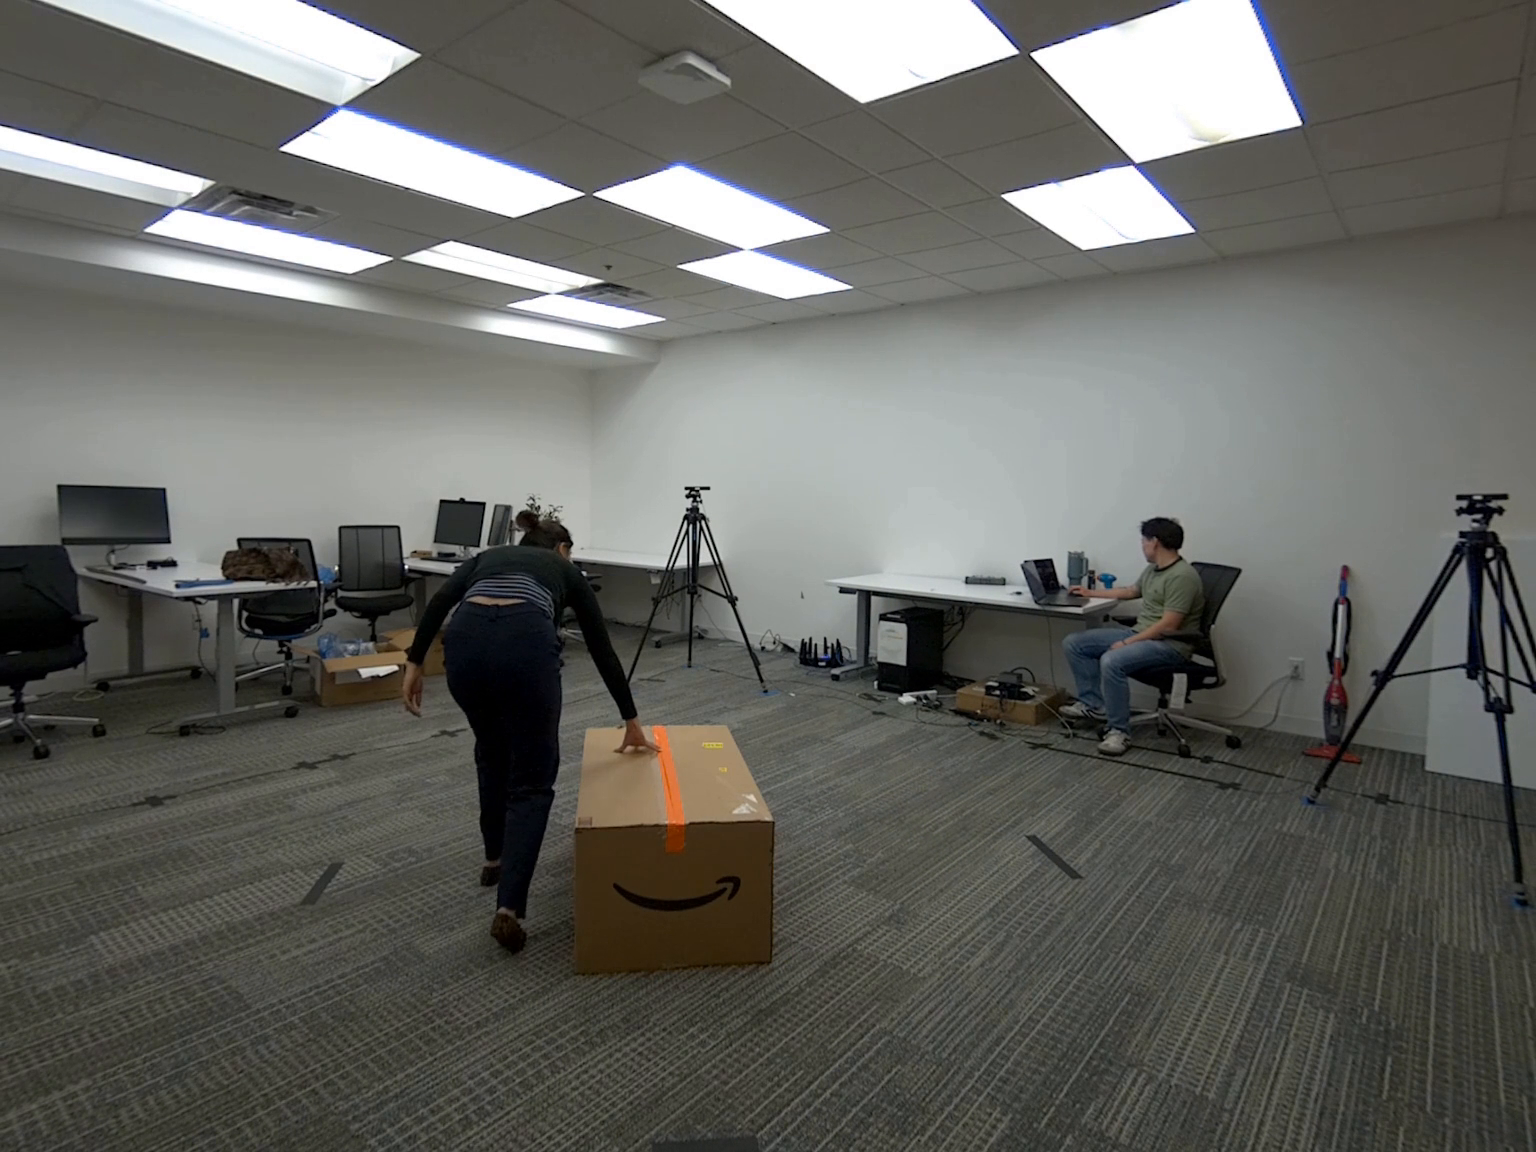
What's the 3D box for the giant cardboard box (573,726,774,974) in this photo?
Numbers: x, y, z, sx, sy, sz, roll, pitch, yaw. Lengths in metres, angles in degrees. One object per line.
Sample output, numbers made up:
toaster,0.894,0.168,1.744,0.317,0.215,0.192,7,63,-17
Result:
giant cardboard box,-0.367,0.865,2.941,0.572,0.424,1.040,0,5,-10
